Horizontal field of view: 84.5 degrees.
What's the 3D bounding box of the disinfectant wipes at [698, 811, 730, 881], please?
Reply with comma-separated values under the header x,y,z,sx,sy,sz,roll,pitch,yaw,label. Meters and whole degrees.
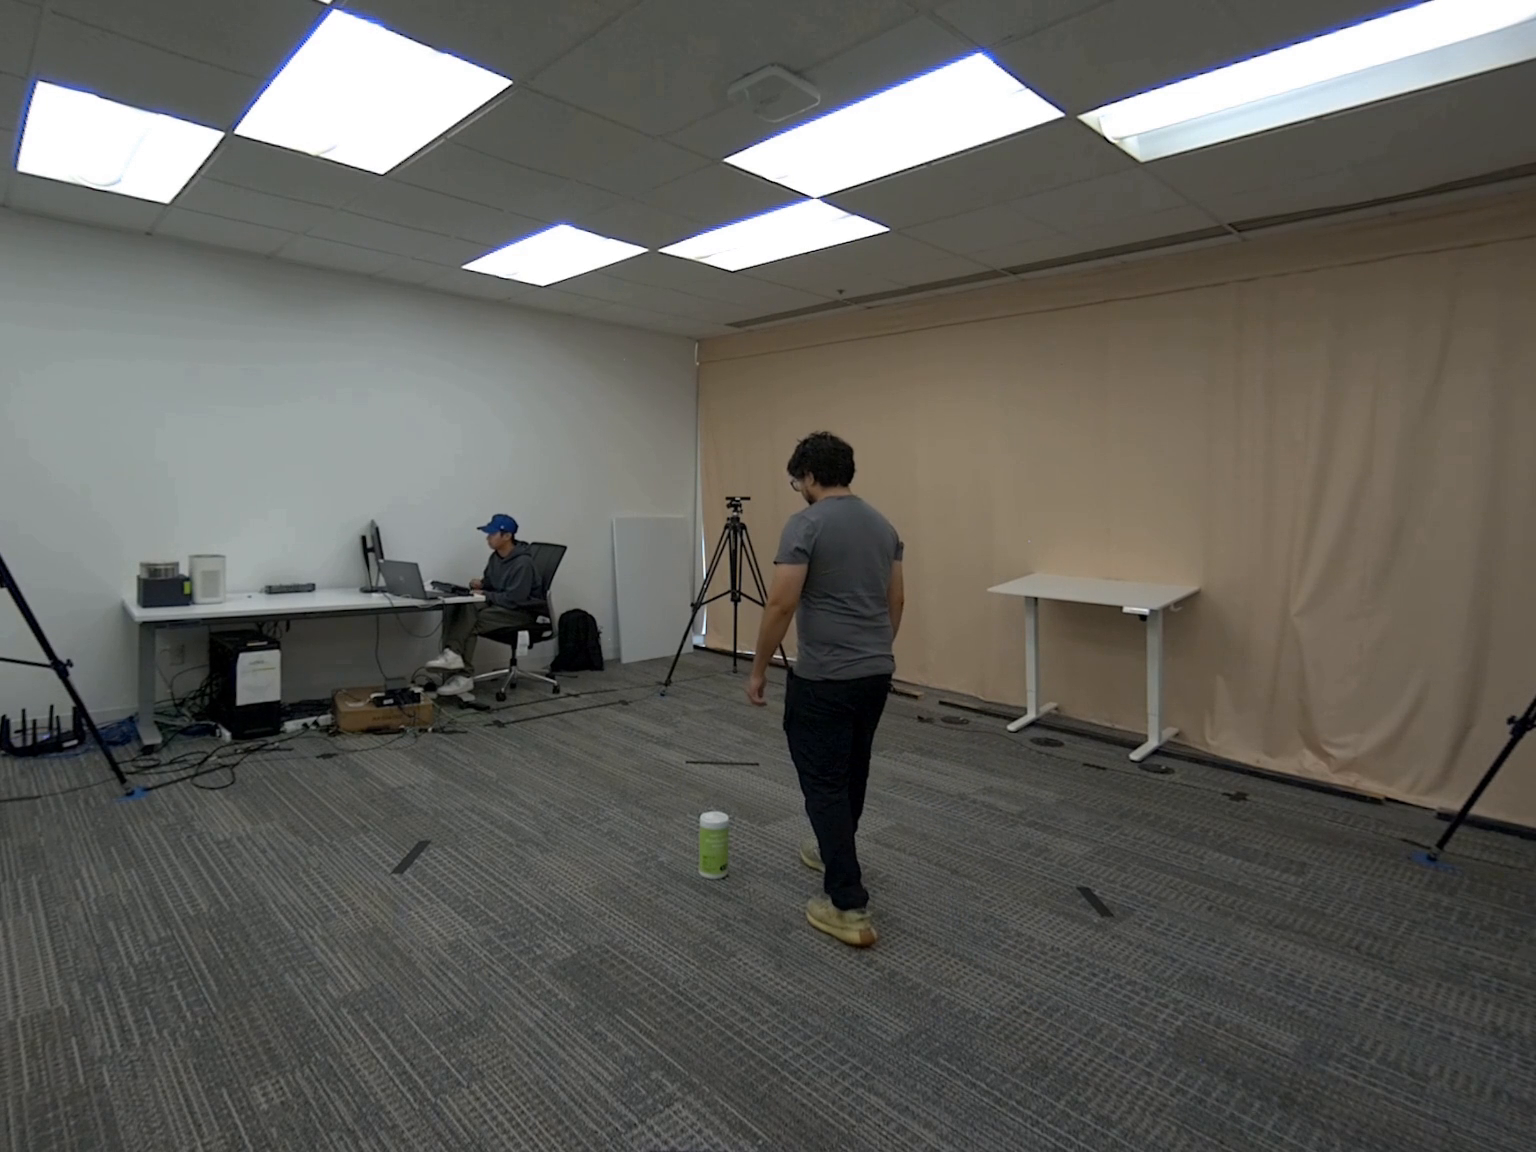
x,y,z,sx,sy,sz,roll,pitch,yaw,label
-0.206,0.991,3.119,0.118,0.217,0.118,0,3,-1,disinfectant wipes
